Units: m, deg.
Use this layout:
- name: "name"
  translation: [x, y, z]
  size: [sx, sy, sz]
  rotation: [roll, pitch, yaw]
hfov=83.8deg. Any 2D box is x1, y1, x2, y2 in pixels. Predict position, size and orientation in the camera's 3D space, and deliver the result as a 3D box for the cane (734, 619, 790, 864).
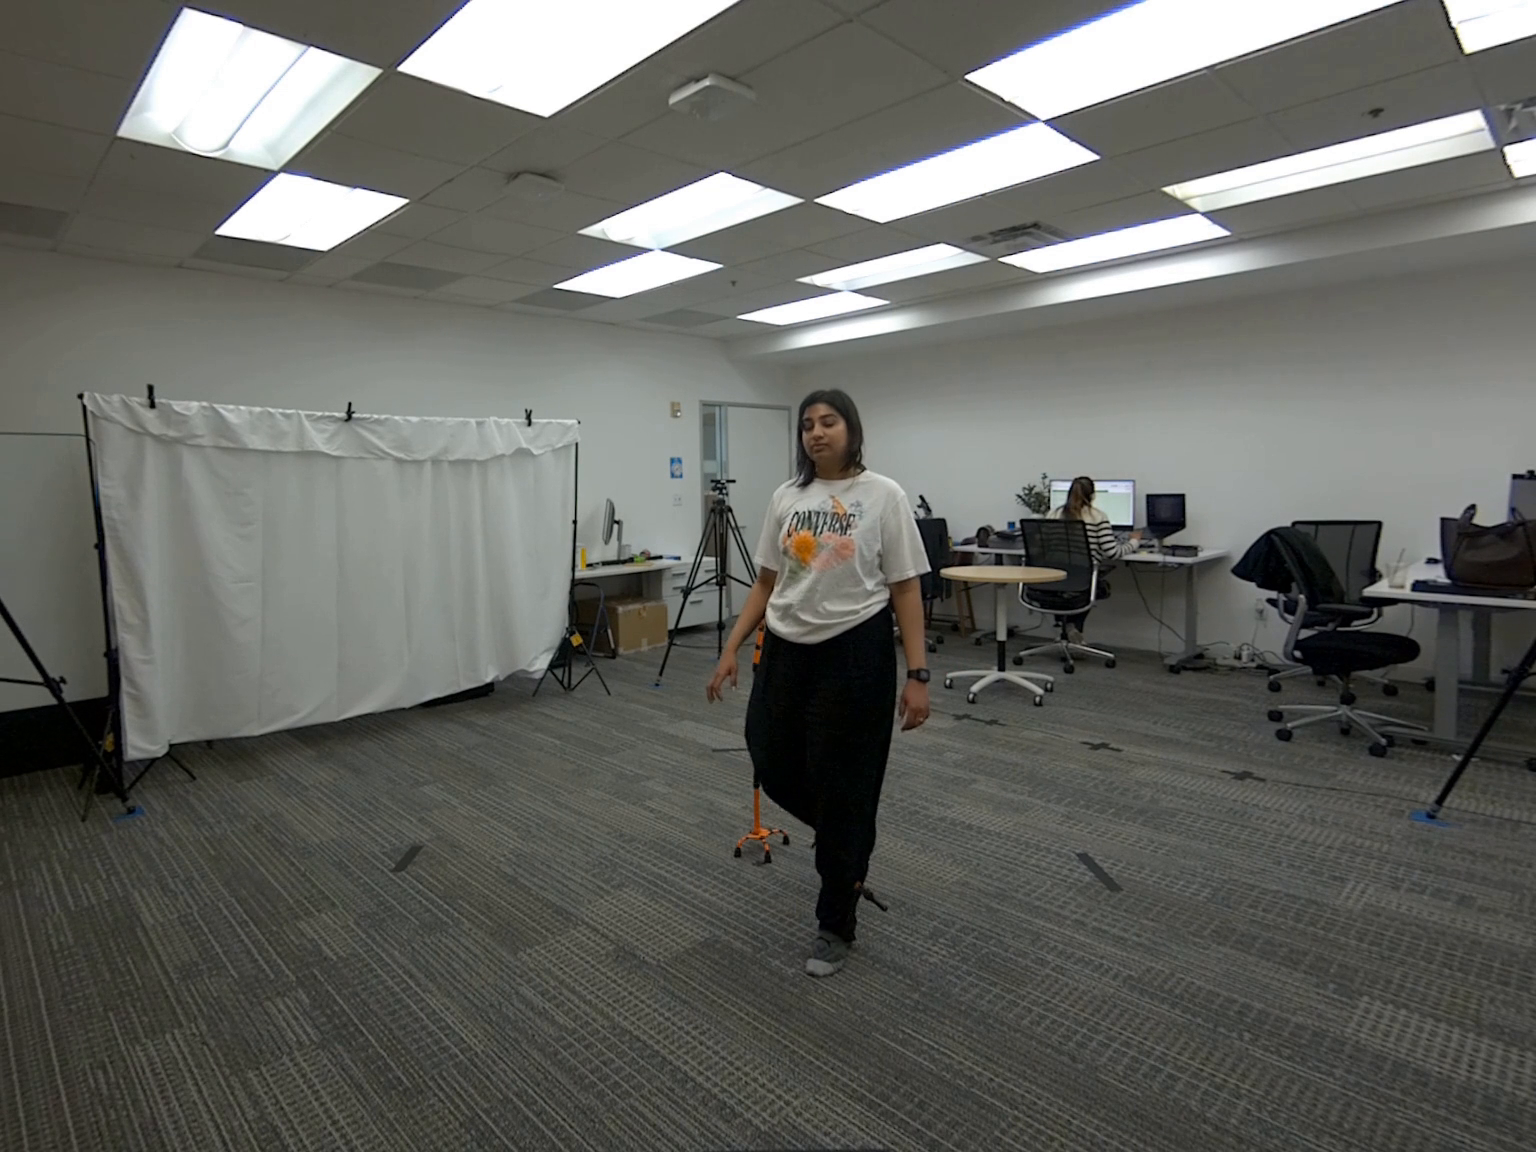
- name: "cane"
  translation: [-0.024, 0.586, 3.204]
  size: [0.155, 0.906, 0.202]
  rotation: [1, 3, 25]
